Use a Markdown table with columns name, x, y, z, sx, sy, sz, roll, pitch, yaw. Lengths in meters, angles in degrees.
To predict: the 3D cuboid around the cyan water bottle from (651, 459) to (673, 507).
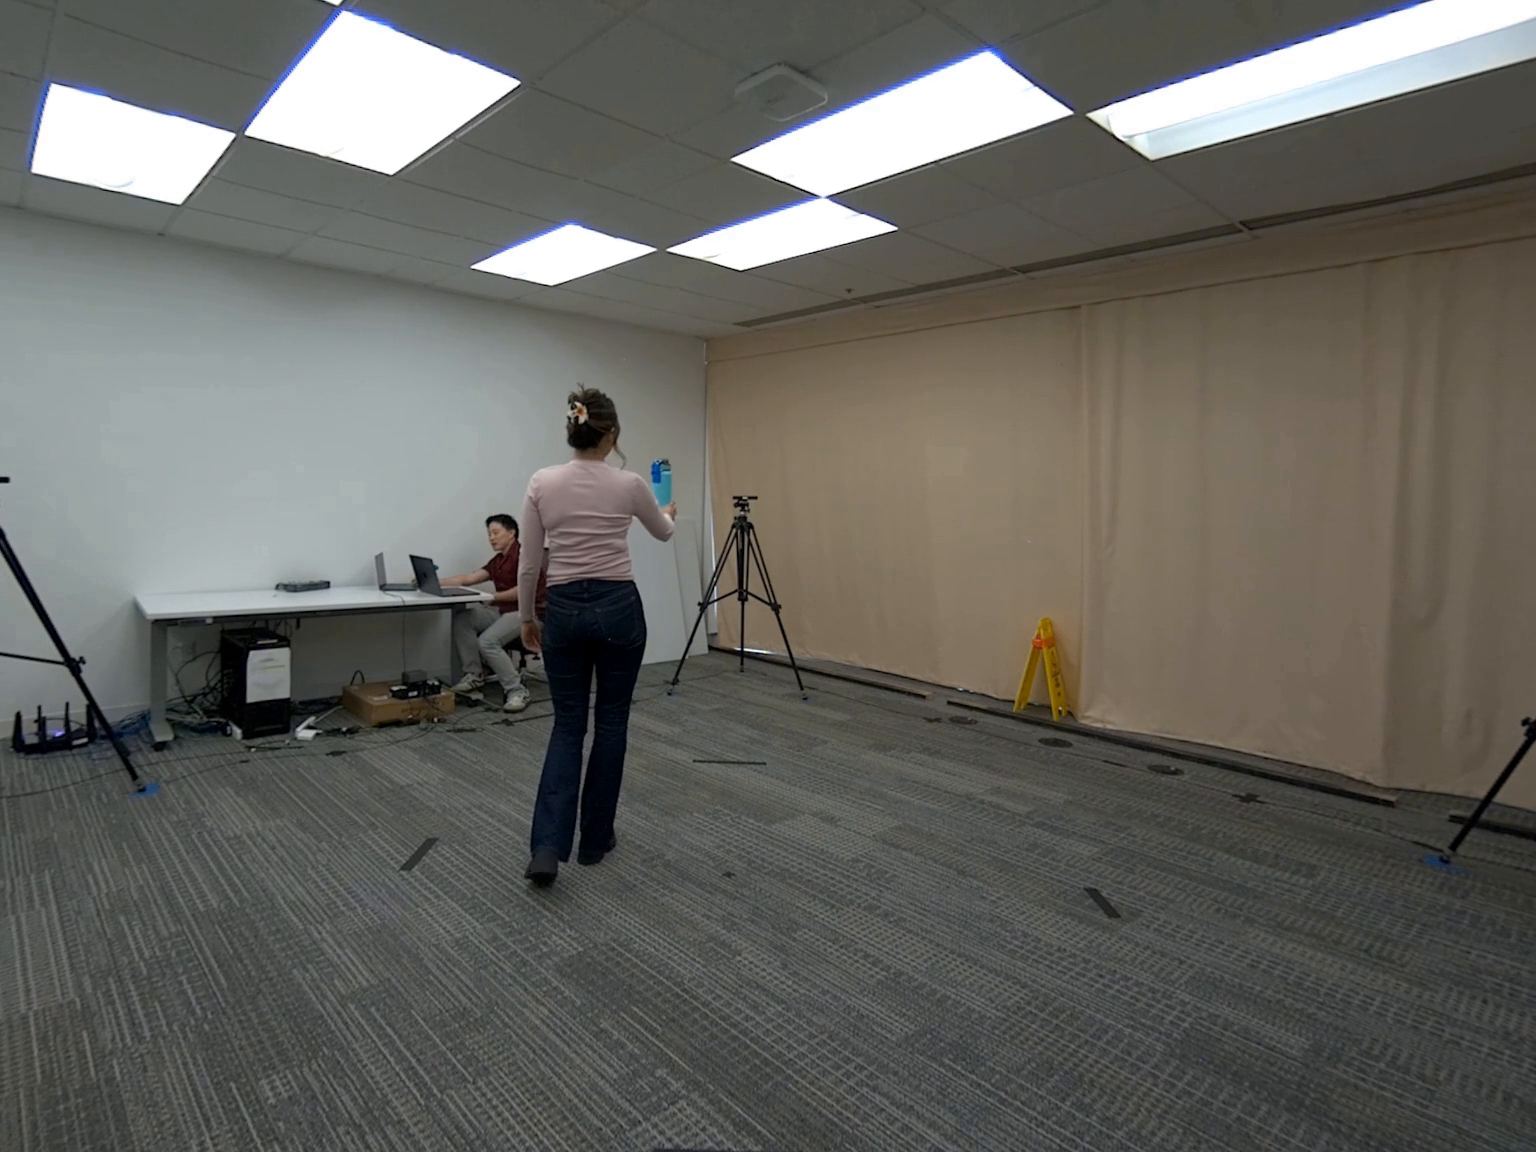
| name | x | y | z | sx | sy | sz | roll | pitch | yaw |
| --- | --- | --- | --- | --- | --- | --- | --- | --- | --- |
| cyan water bottle | -0.475 | -0.376 | 3.660 | 0.092 | 0.281 | 0.093 | 2 | 9 | -2 |
